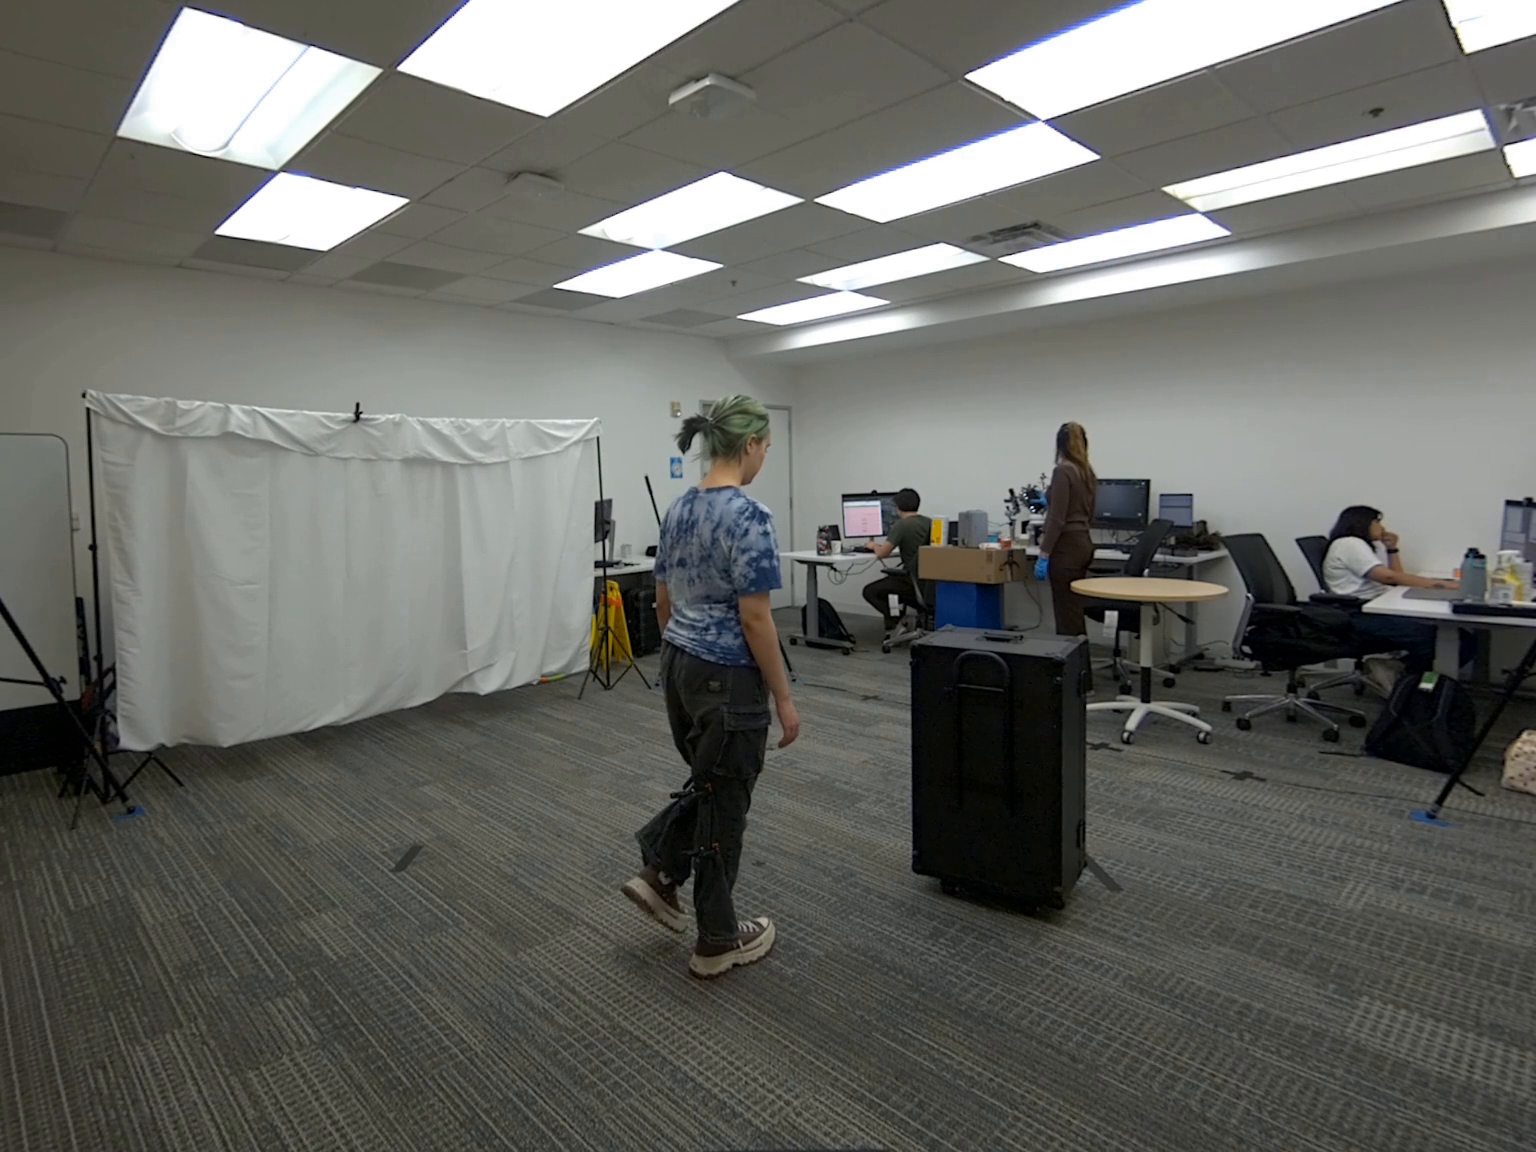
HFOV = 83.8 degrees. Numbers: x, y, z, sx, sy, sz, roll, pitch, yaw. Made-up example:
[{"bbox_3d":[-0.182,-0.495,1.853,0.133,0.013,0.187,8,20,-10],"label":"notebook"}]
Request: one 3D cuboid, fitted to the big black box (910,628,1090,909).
[{"bbox_3d":[0.774,0.636,2.841,0.536,0.857,0.387,2,6,33],"label":"big black box"}]
